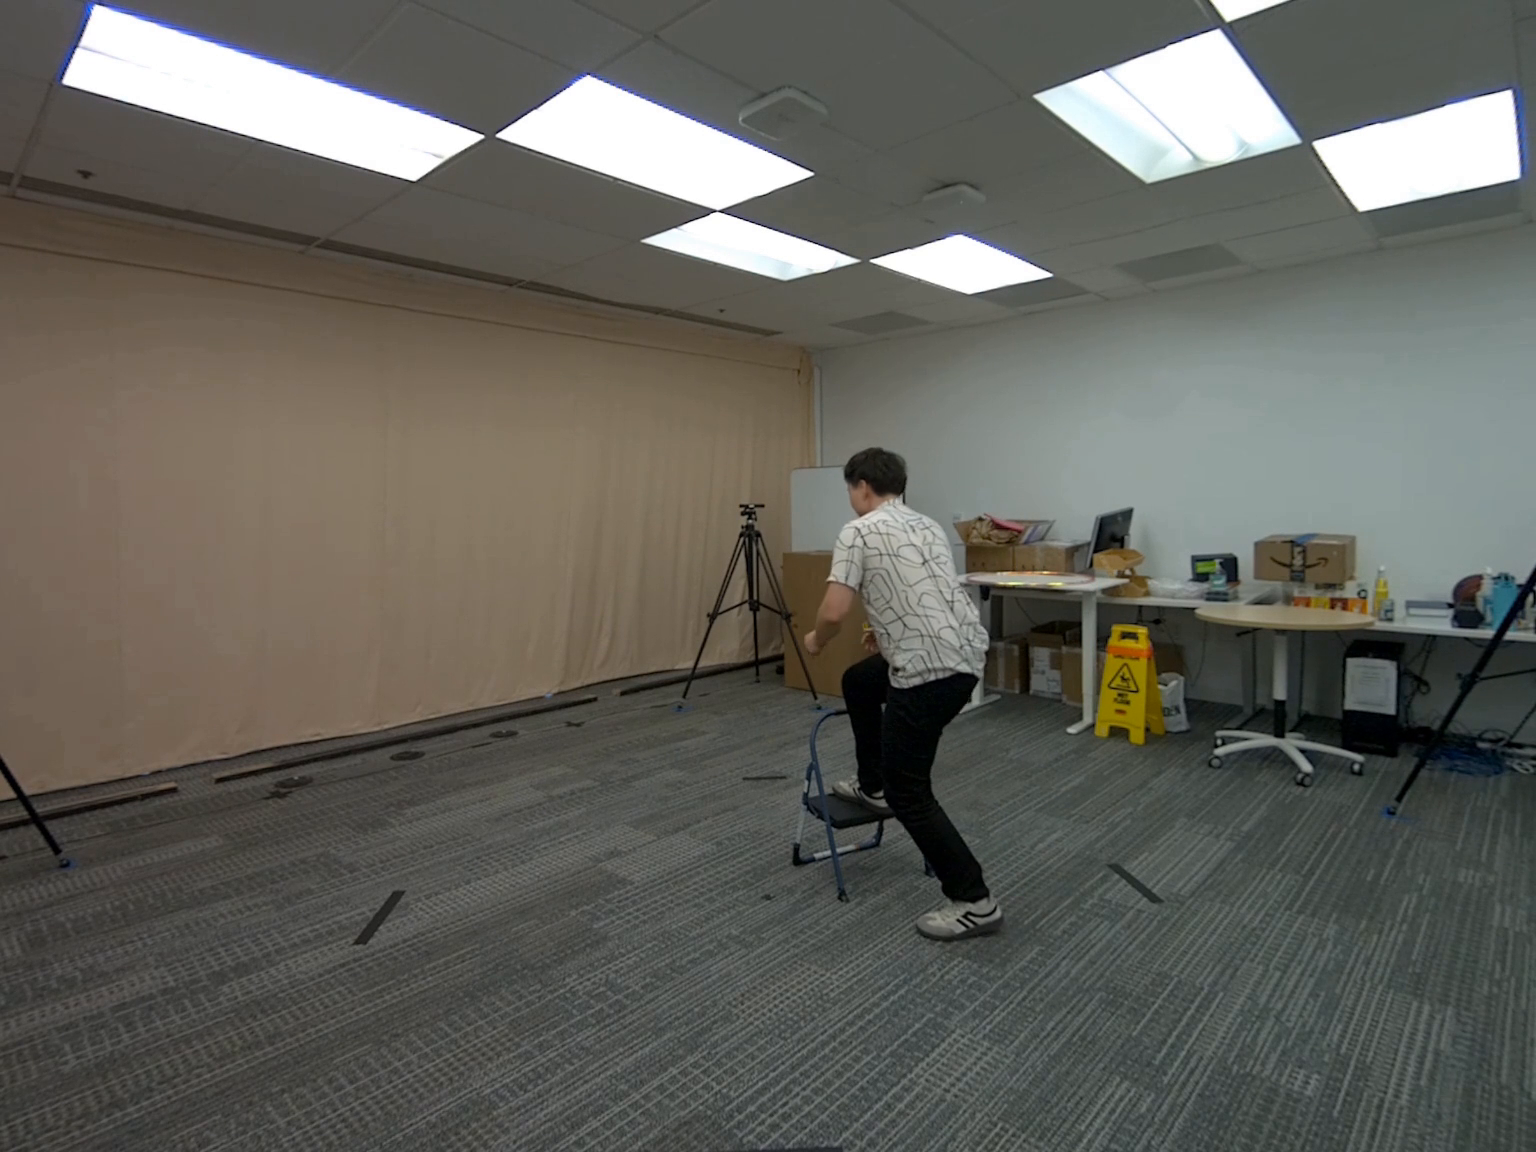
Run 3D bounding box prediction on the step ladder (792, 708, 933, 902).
[{"bbox_3d":[0.355,0.813,3.173,0.419,0.605,0.359,-3,4,-30],"label":"step ladder"}]
